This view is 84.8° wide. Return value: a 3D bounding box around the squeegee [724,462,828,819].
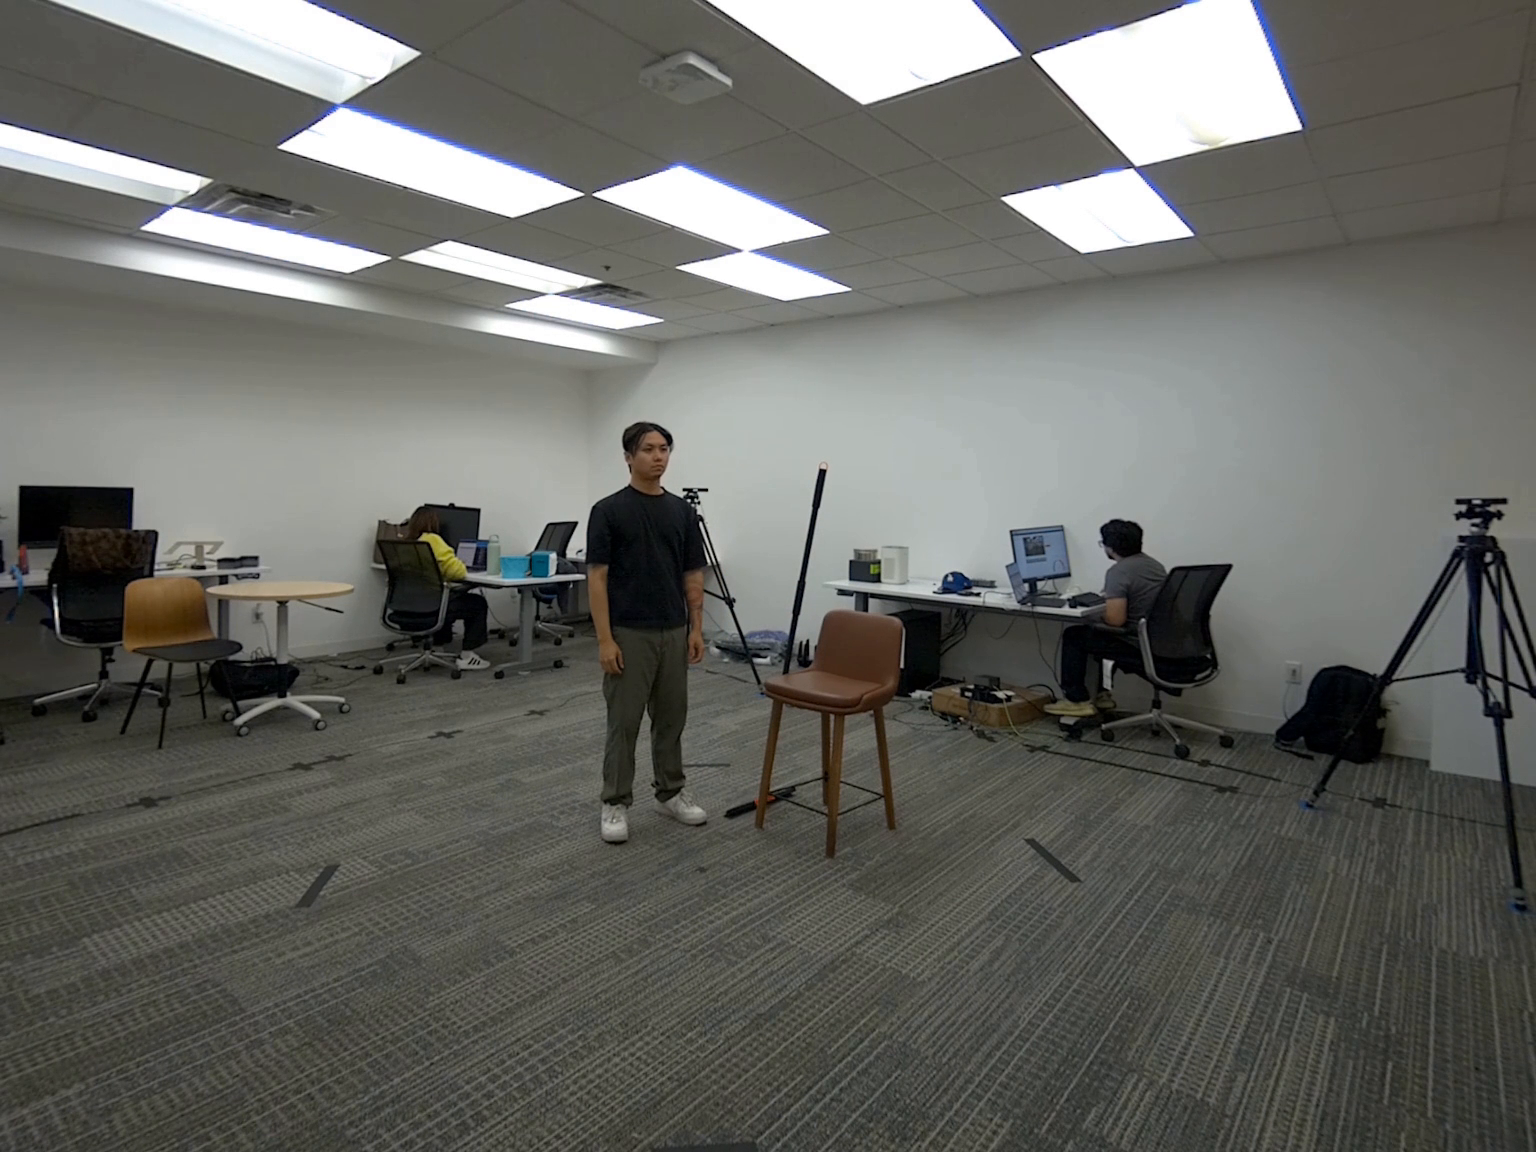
[{"bbox_3d":[0.092,0.261,3.618,0.424,1.528,0.055,4,8,-33],"label":"squeegee"}]
